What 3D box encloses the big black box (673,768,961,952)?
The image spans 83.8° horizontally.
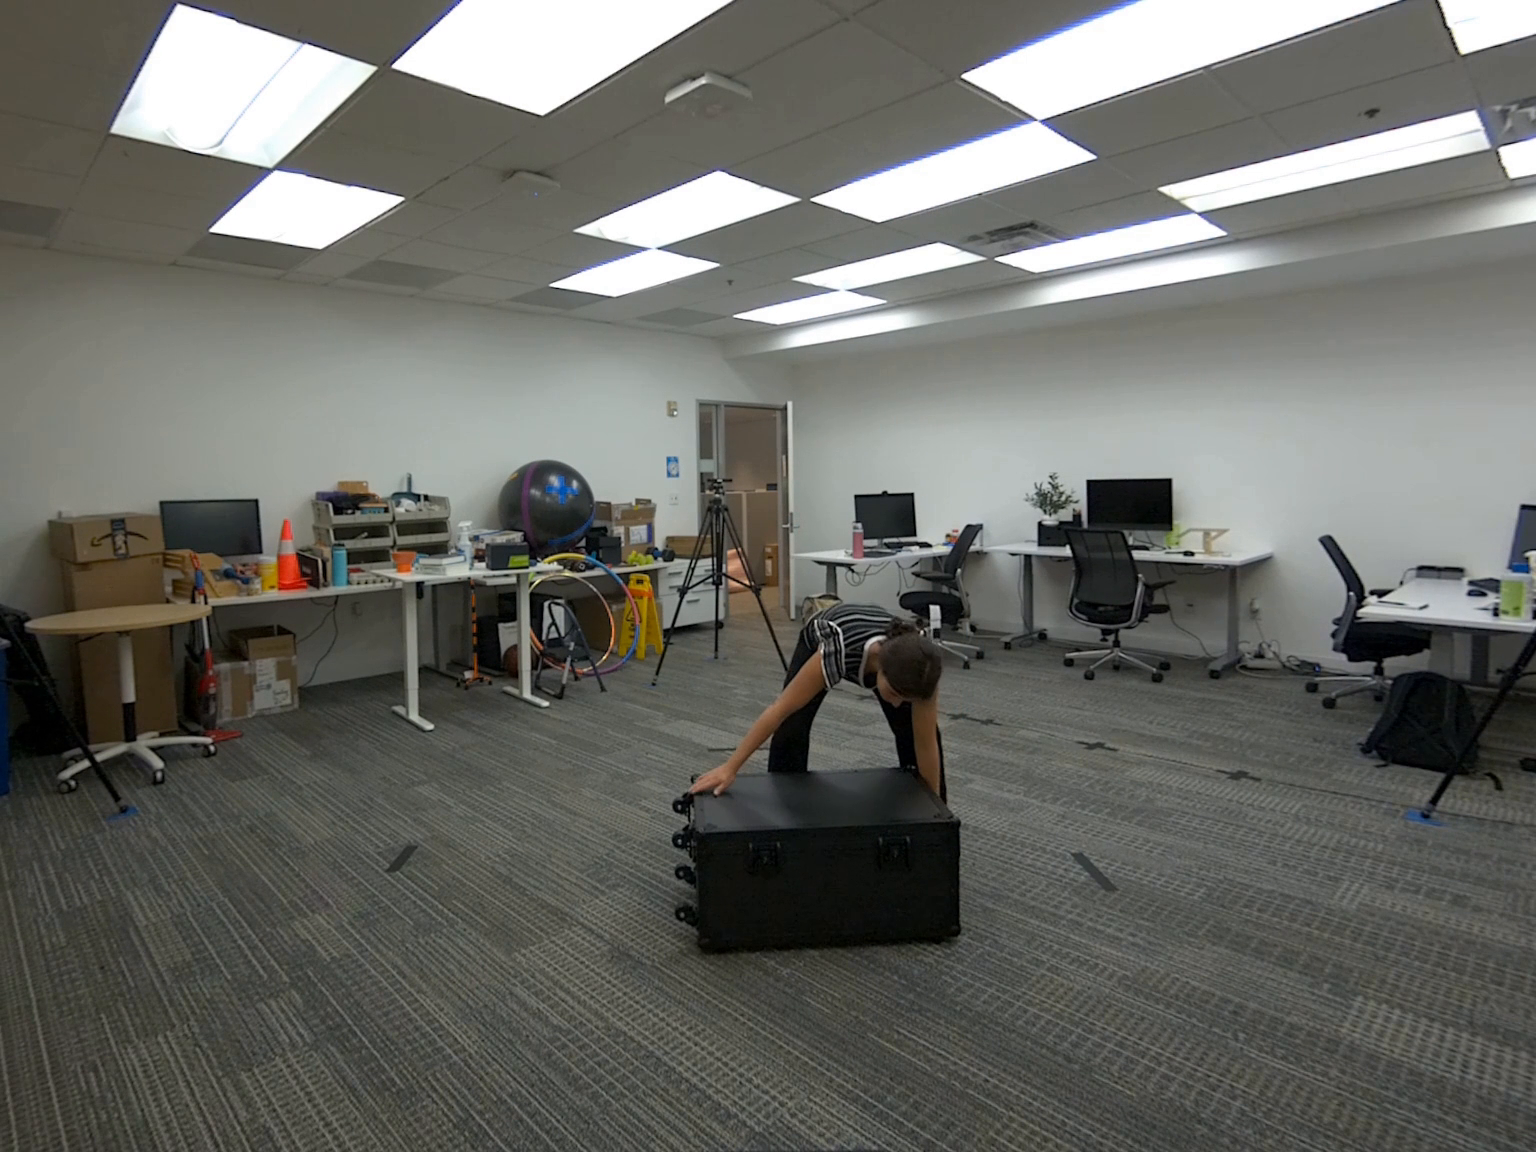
[{"bbox_3d":[0.122,0.893,2.746,0.858,0.395,0.525,-1,4,-5],"label":"big black box"}]
